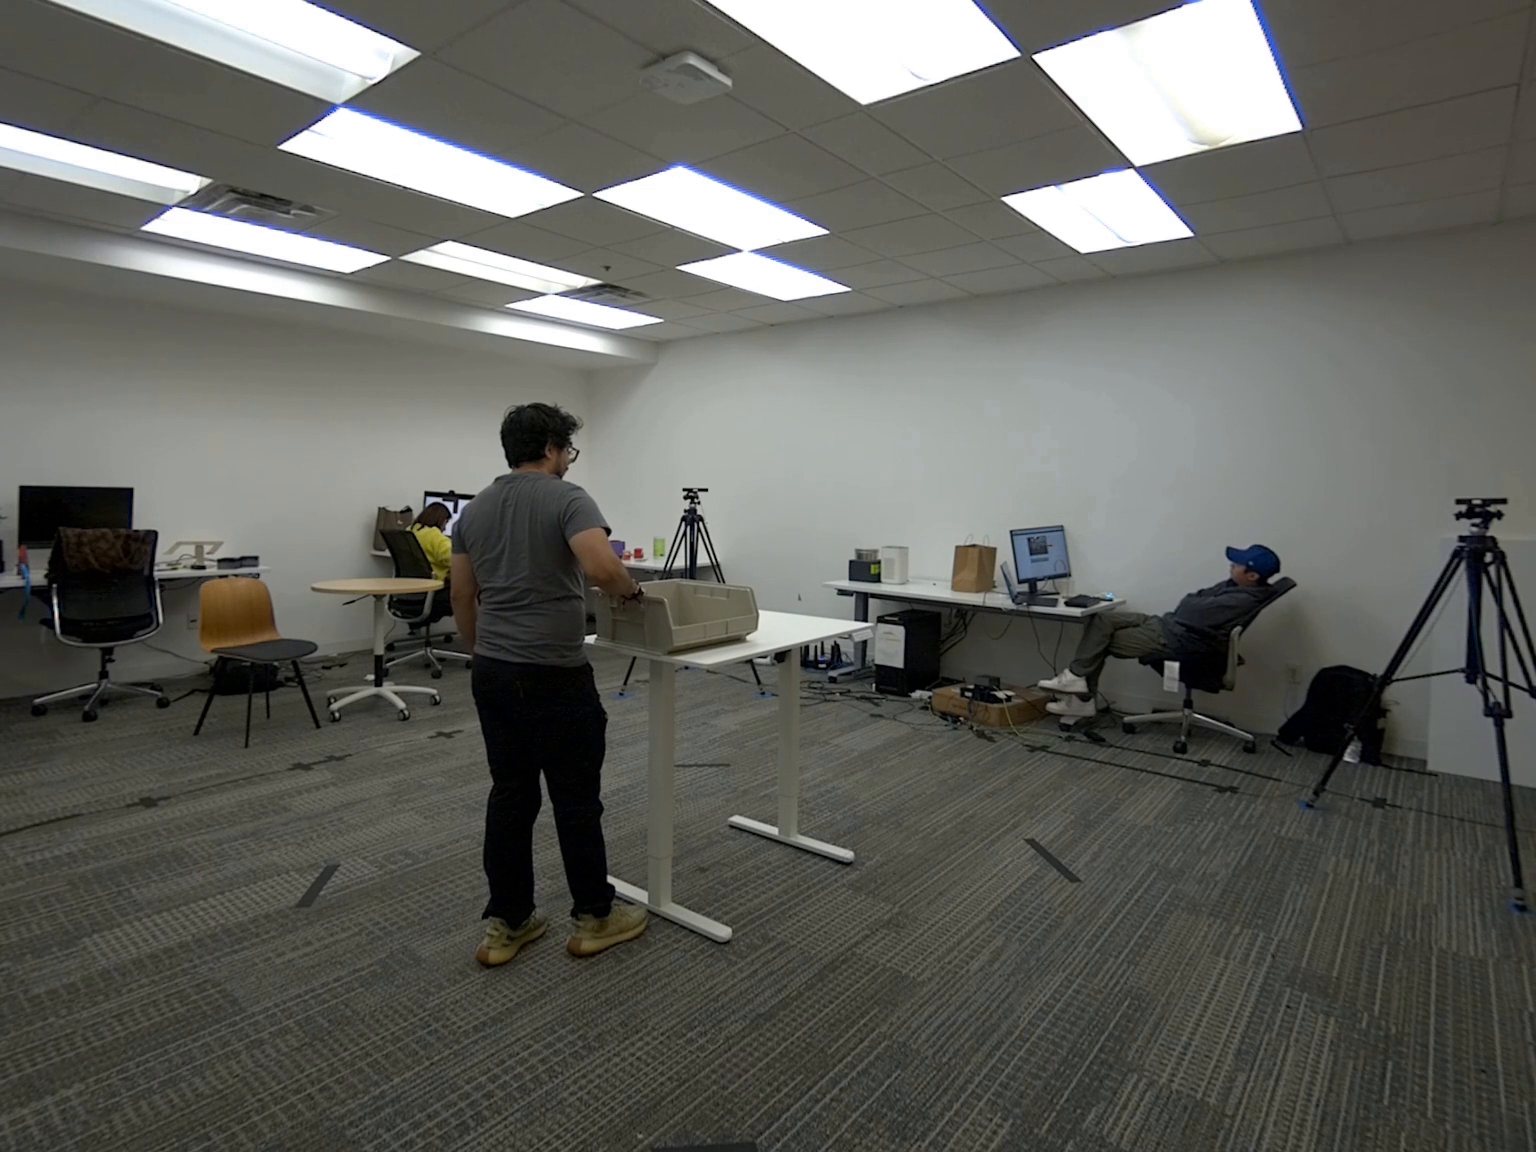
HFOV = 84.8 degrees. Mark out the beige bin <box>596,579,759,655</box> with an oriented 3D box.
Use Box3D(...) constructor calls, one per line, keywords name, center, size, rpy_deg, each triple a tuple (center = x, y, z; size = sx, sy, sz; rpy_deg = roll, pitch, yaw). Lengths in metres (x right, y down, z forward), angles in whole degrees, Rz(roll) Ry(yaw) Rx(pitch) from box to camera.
Box3D(name="beige bin", center=(-0.316, 0.128, 2.809), size=(0.390, 0.188, 0.410), rpy_deg=(3, 6, 40))
